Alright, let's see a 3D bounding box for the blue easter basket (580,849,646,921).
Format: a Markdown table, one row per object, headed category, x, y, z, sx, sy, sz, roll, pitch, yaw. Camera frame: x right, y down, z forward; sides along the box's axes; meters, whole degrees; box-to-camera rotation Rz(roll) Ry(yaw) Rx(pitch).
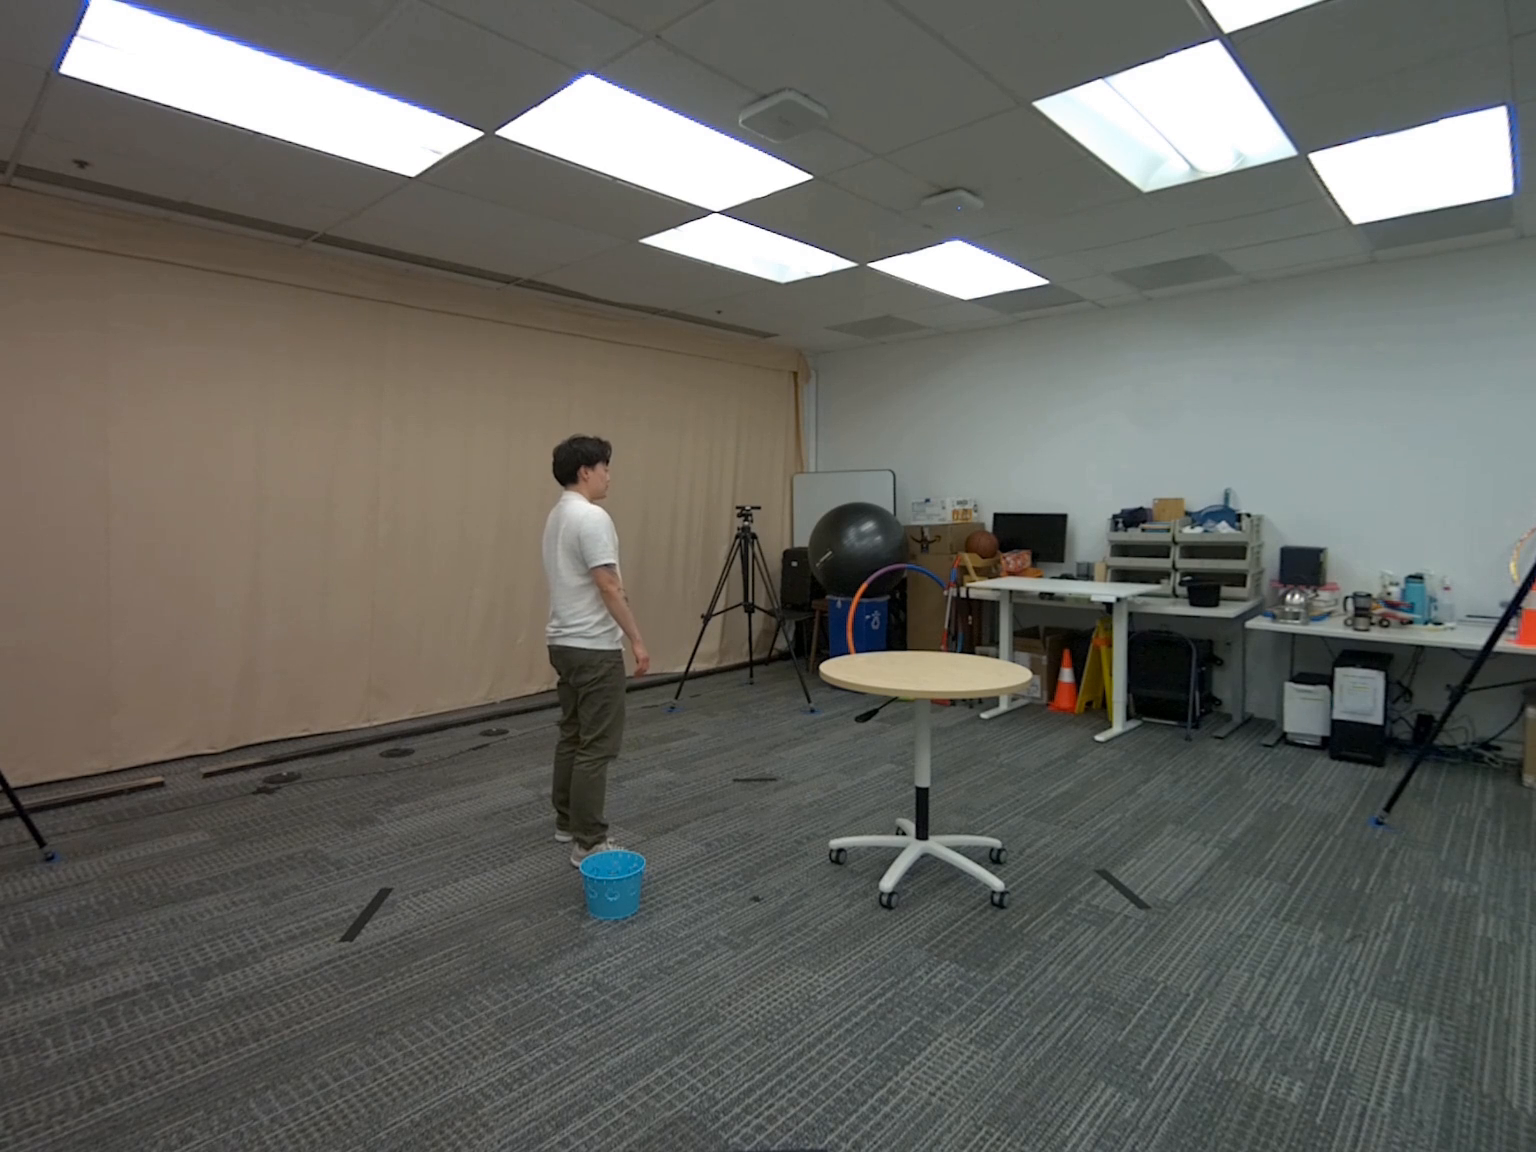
| category | x | y | z | sx | sy | sz | roll | pitch | yaw |
| --- | --- | --- | --- | --- | --- | --- | --- | --- | --- |
| blue easter basket | -0.531 | 1.076 | 2.927 | 0.243 | 0.155 | 0.244 | 0 | 5 | -2 |
